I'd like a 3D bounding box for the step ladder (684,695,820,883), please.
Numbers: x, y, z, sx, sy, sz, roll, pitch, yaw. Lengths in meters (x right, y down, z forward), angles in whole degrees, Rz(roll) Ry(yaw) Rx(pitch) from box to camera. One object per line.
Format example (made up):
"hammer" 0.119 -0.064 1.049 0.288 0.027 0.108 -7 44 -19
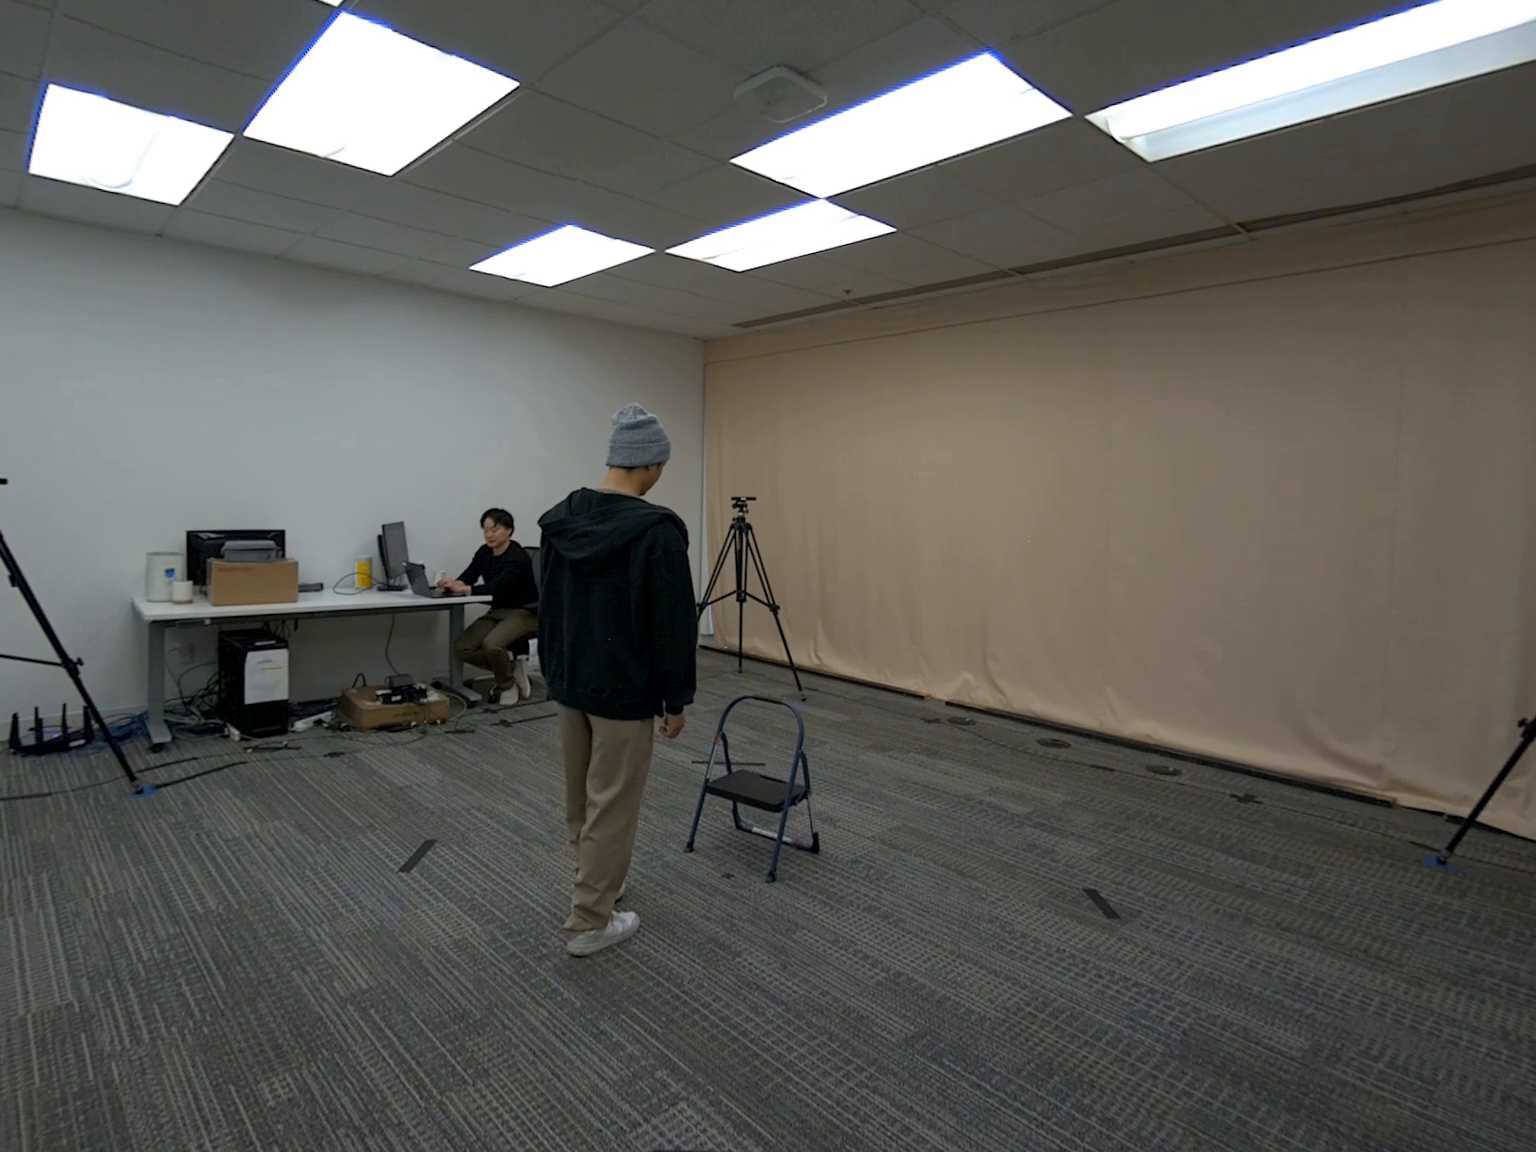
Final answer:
"step ladder" -0.057 0.787 3.304 0.441 0.604 0.342 4 5 36
